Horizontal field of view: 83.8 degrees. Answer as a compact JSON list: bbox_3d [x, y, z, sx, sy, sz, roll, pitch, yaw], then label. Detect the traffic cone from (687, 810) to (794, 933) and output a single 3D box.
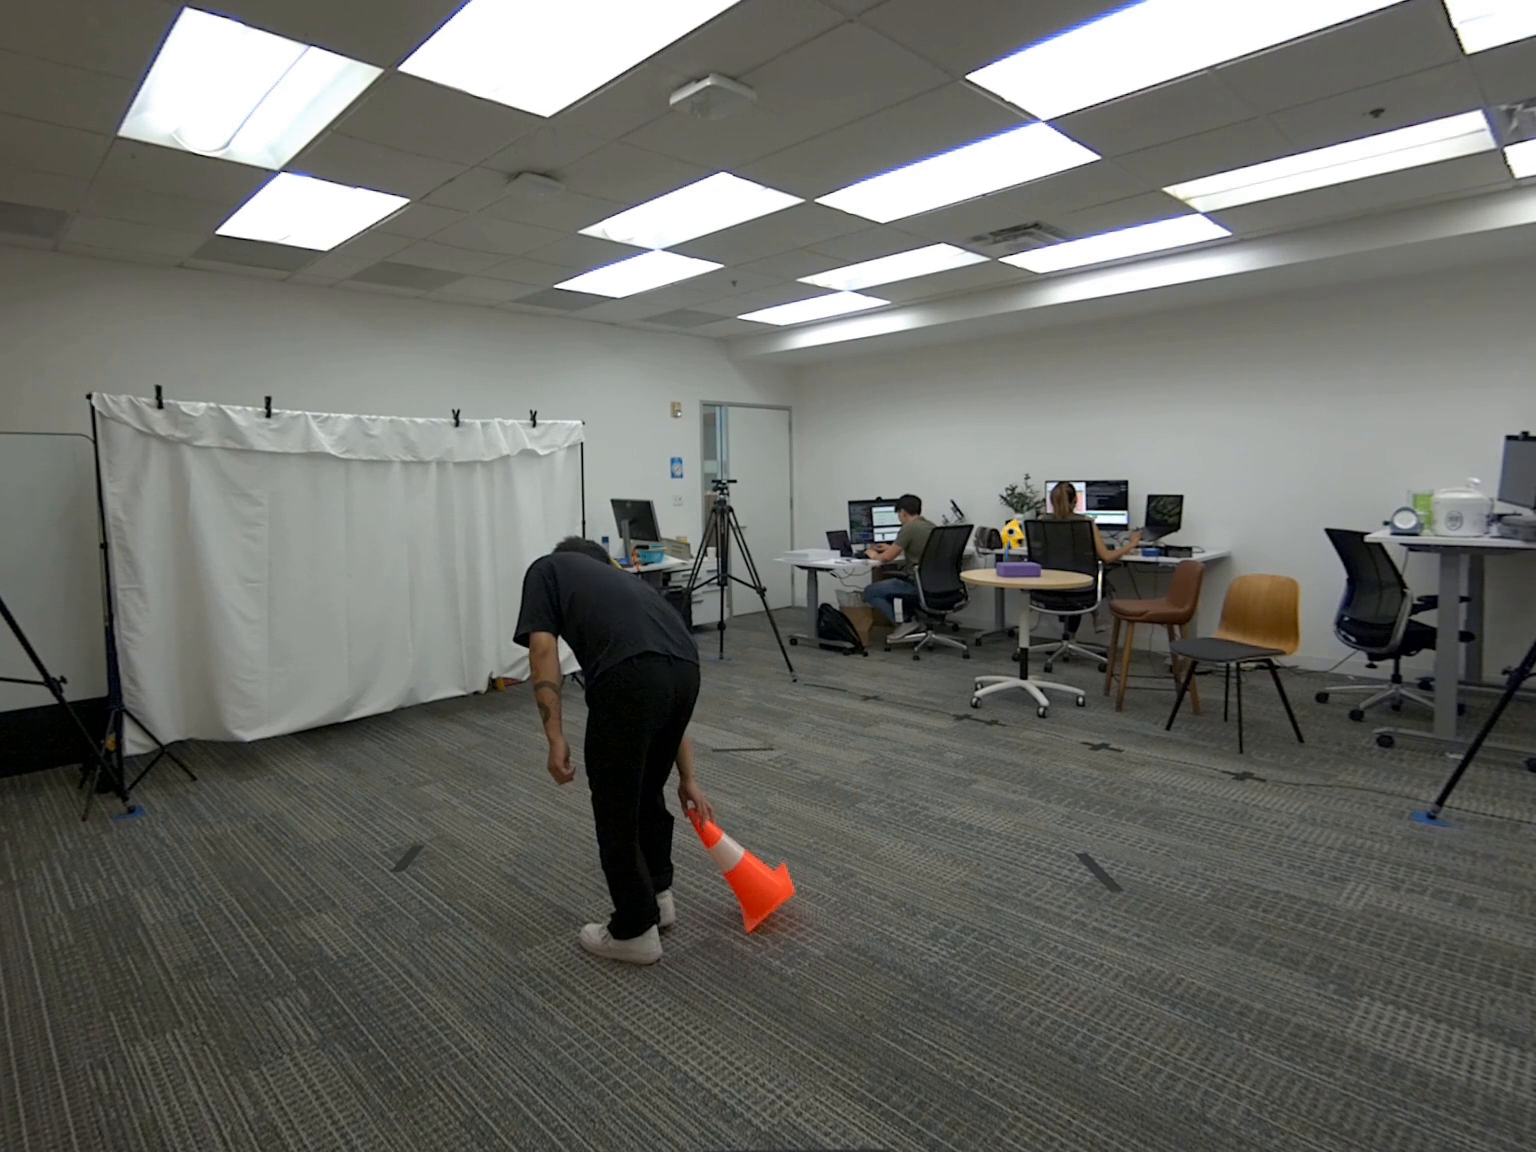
[{"bbox_3d":[-0.118,0.886,2.710,0.205,0.381,0.205,-41,6,-2],"label":"traffic cone"}]
